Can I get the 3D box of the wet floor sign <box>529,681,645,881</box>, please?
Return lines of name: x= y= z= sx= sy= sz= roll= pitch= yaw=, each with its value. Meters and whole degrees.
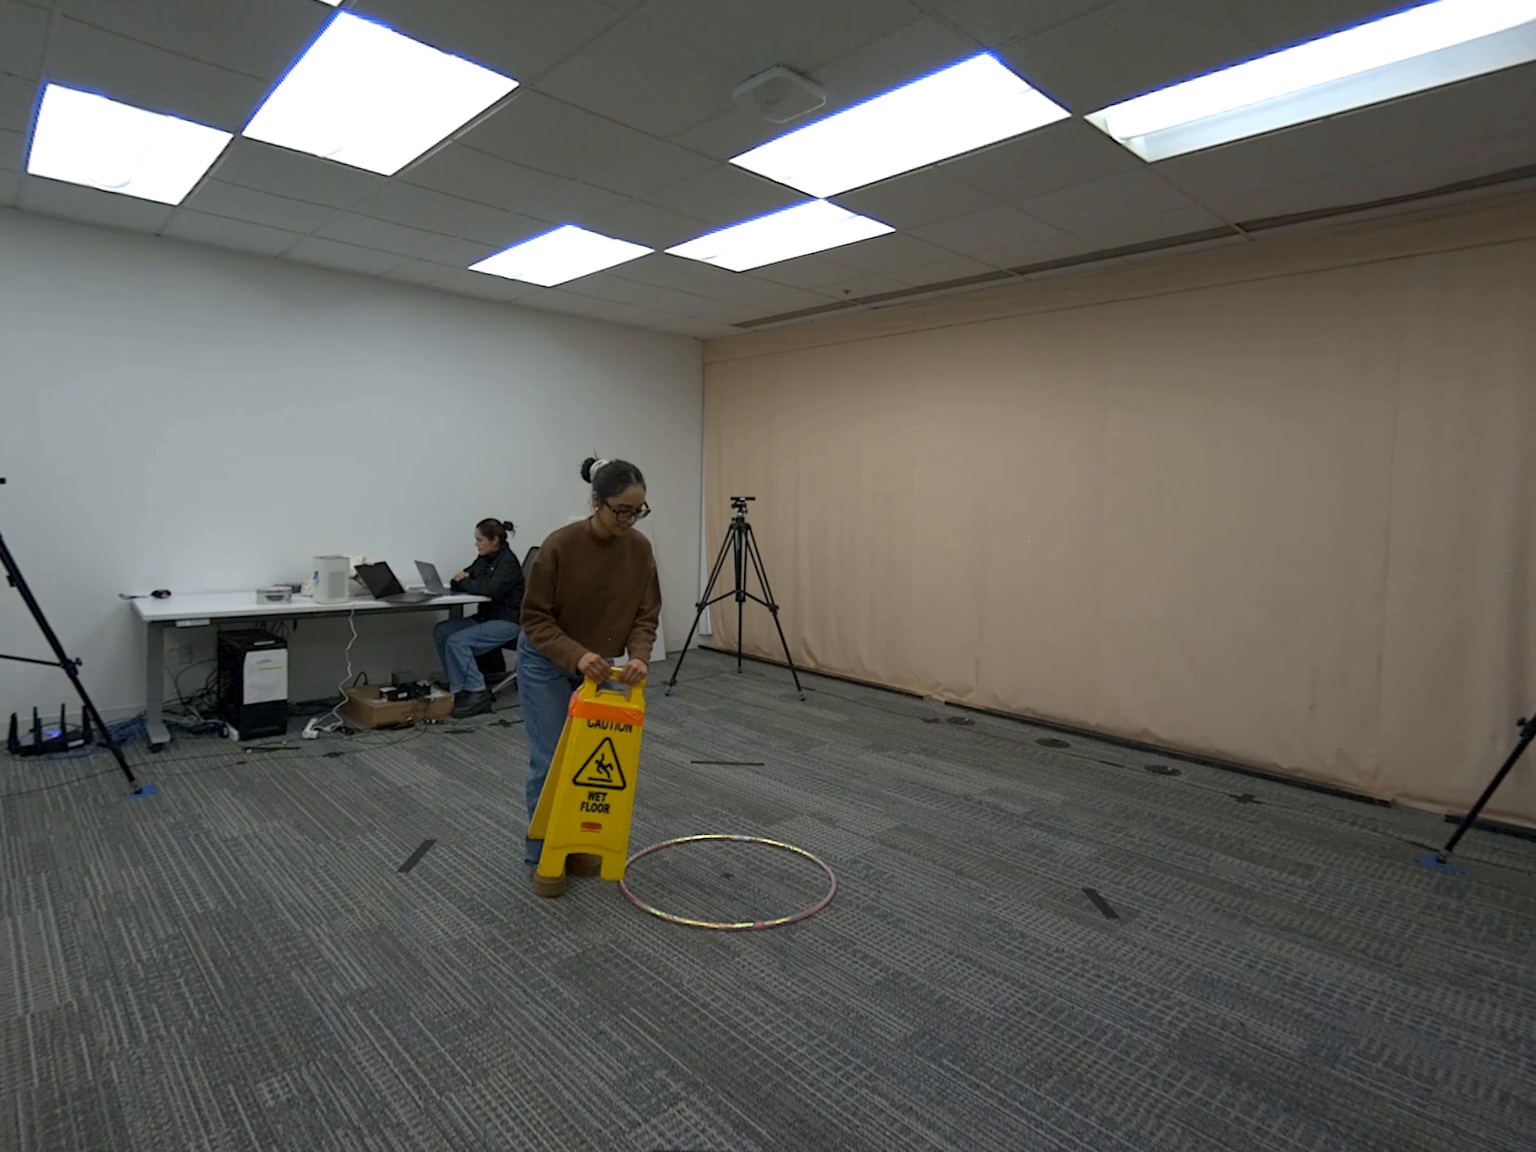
wet floor sign: x=-0.558 y=0.605 z=2.754 sx=0.277 sy=0.645 sz=0.296 roll=11 pitch=4 yaw=-22
